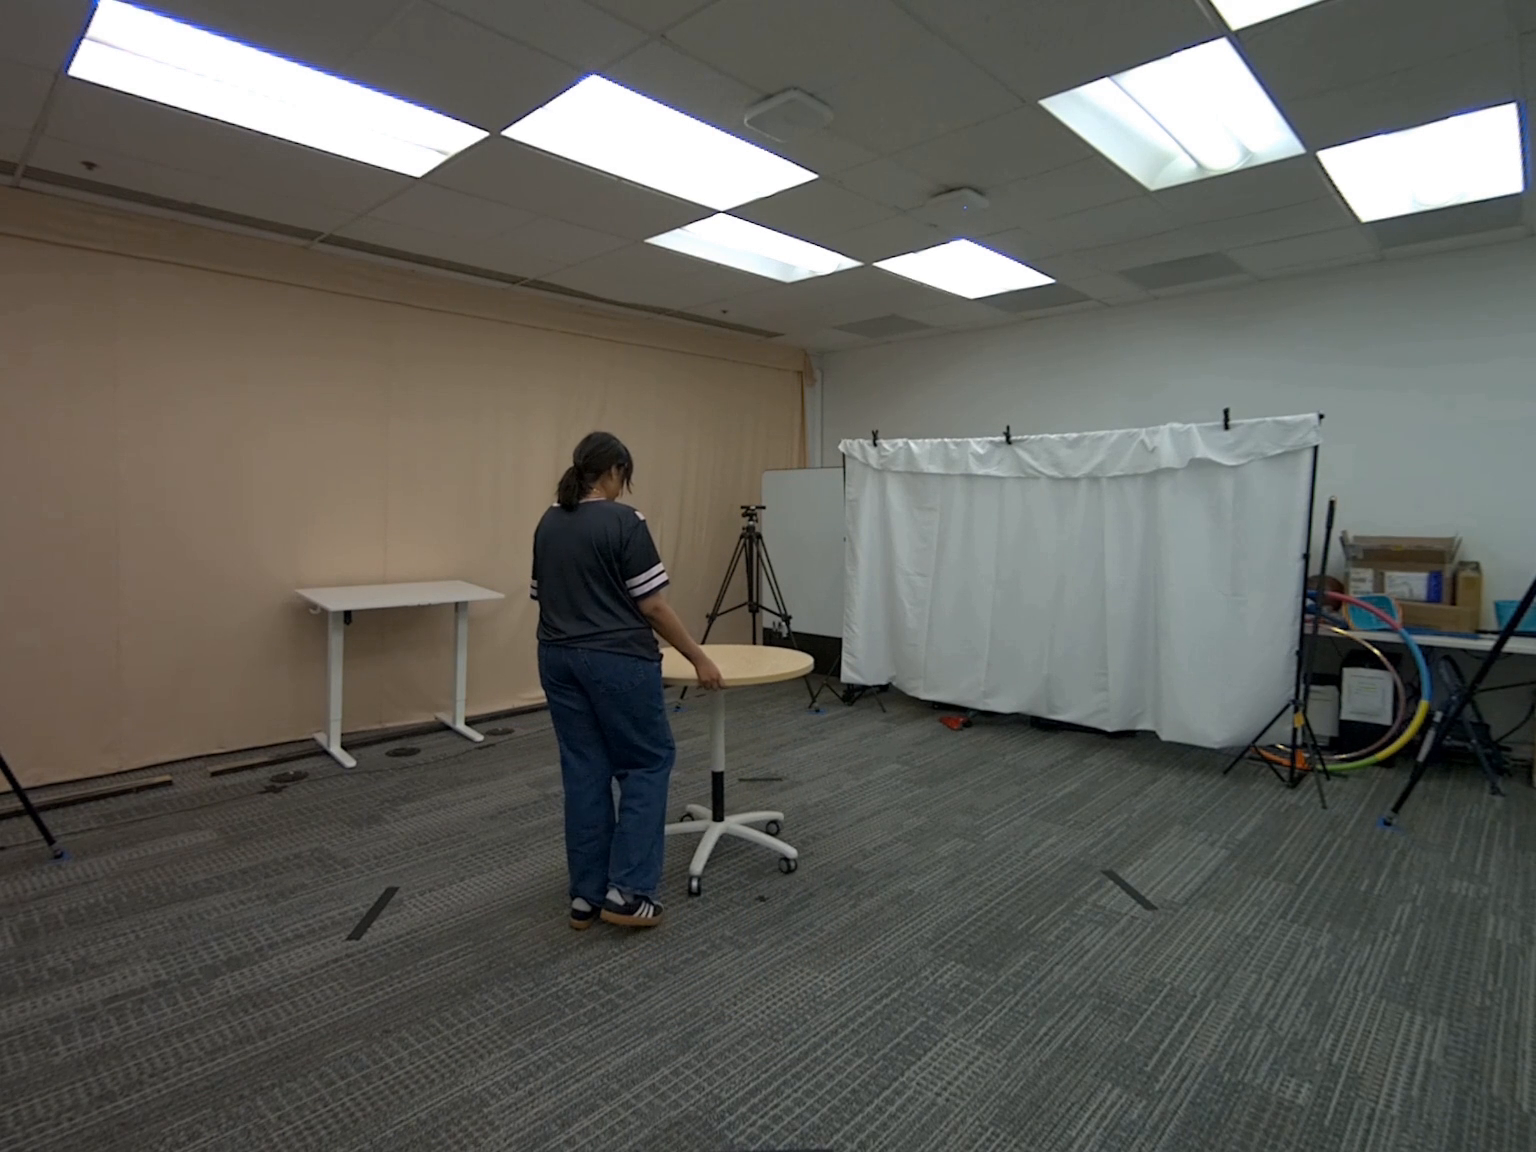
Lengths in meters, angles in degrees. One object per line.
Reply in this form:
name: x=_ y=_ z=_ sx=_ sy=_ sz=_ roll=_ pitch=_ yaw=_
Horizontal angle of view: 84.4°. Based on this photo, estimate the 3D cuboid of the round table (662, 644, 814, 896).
round table: x=-0.194 y=0.725 z=3.341 sx=0.763 sy=0.792 sz=0.766 roll=-1 pitch=3 yaw=-2
